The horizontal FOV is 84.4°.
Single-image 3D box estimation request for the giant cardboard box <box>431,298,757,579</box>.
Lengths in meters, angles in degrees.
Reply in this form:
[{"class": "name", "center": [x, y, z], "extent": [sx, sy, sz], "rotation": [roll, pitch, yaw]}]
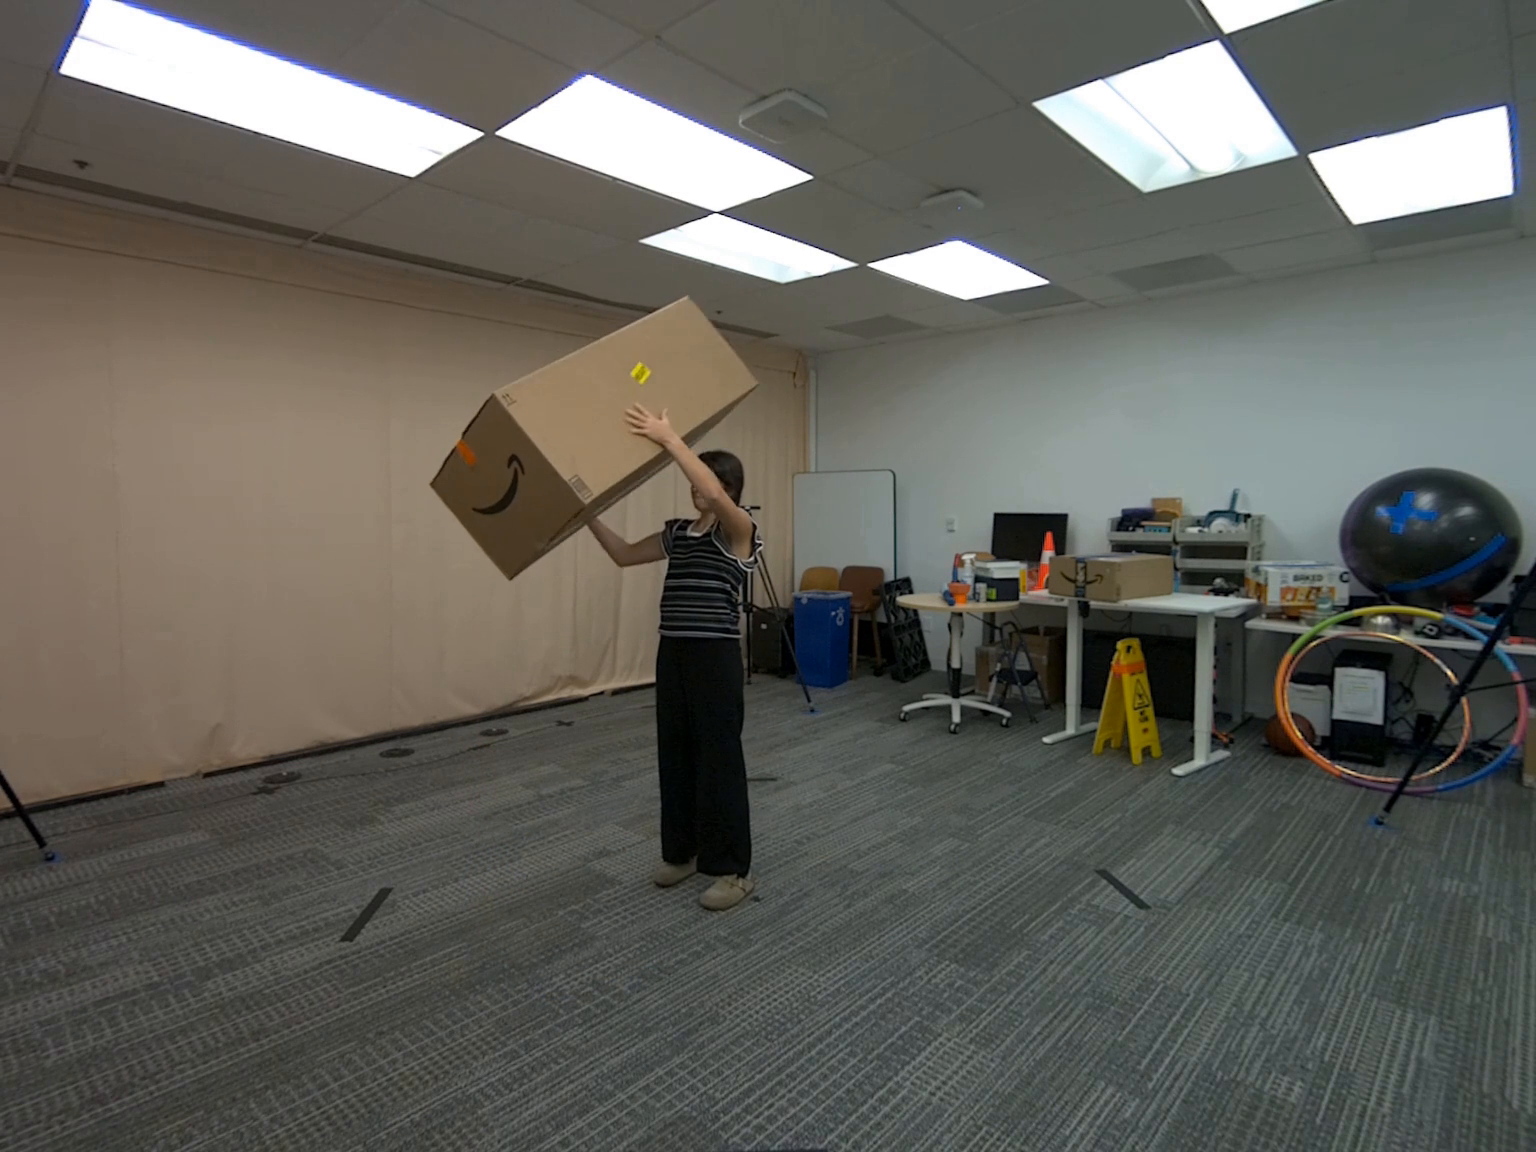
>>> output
[{"class": "giant cardboard box", "center": [-0.565, -0.508, 2.982], "extent": [0.586, 0.424, 1.015], "rotation": [-34, 8, 45]}]
